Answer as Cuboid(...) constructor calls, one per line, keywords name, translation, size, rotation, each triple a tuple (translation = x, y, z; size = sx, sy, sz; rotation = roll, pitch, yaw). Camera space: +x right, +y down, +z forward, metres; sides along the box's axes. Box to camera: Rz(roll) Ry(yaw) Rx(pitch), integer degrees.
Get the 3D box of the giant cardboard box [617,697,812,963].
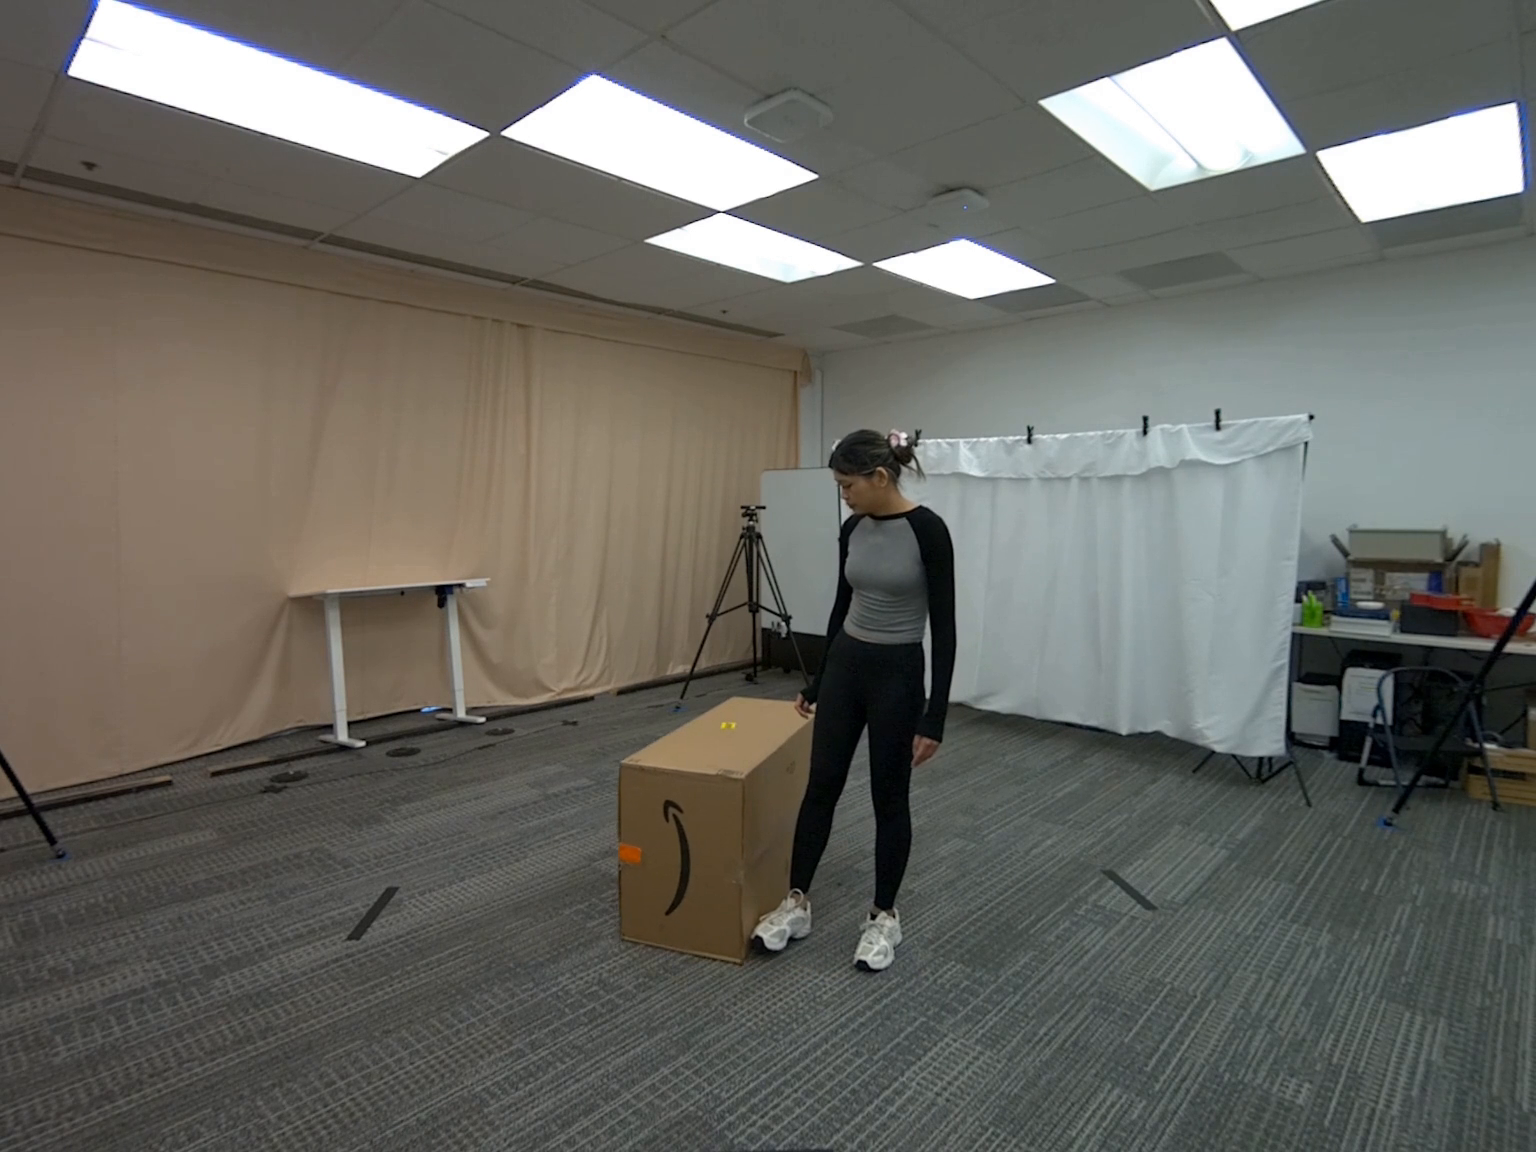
Cuboid(name="giant cardboard box", translation=(-0.117, 0.845, 3.089), size=(0.436, 0.576, 1.006), rotation=(2, 5, 20))
